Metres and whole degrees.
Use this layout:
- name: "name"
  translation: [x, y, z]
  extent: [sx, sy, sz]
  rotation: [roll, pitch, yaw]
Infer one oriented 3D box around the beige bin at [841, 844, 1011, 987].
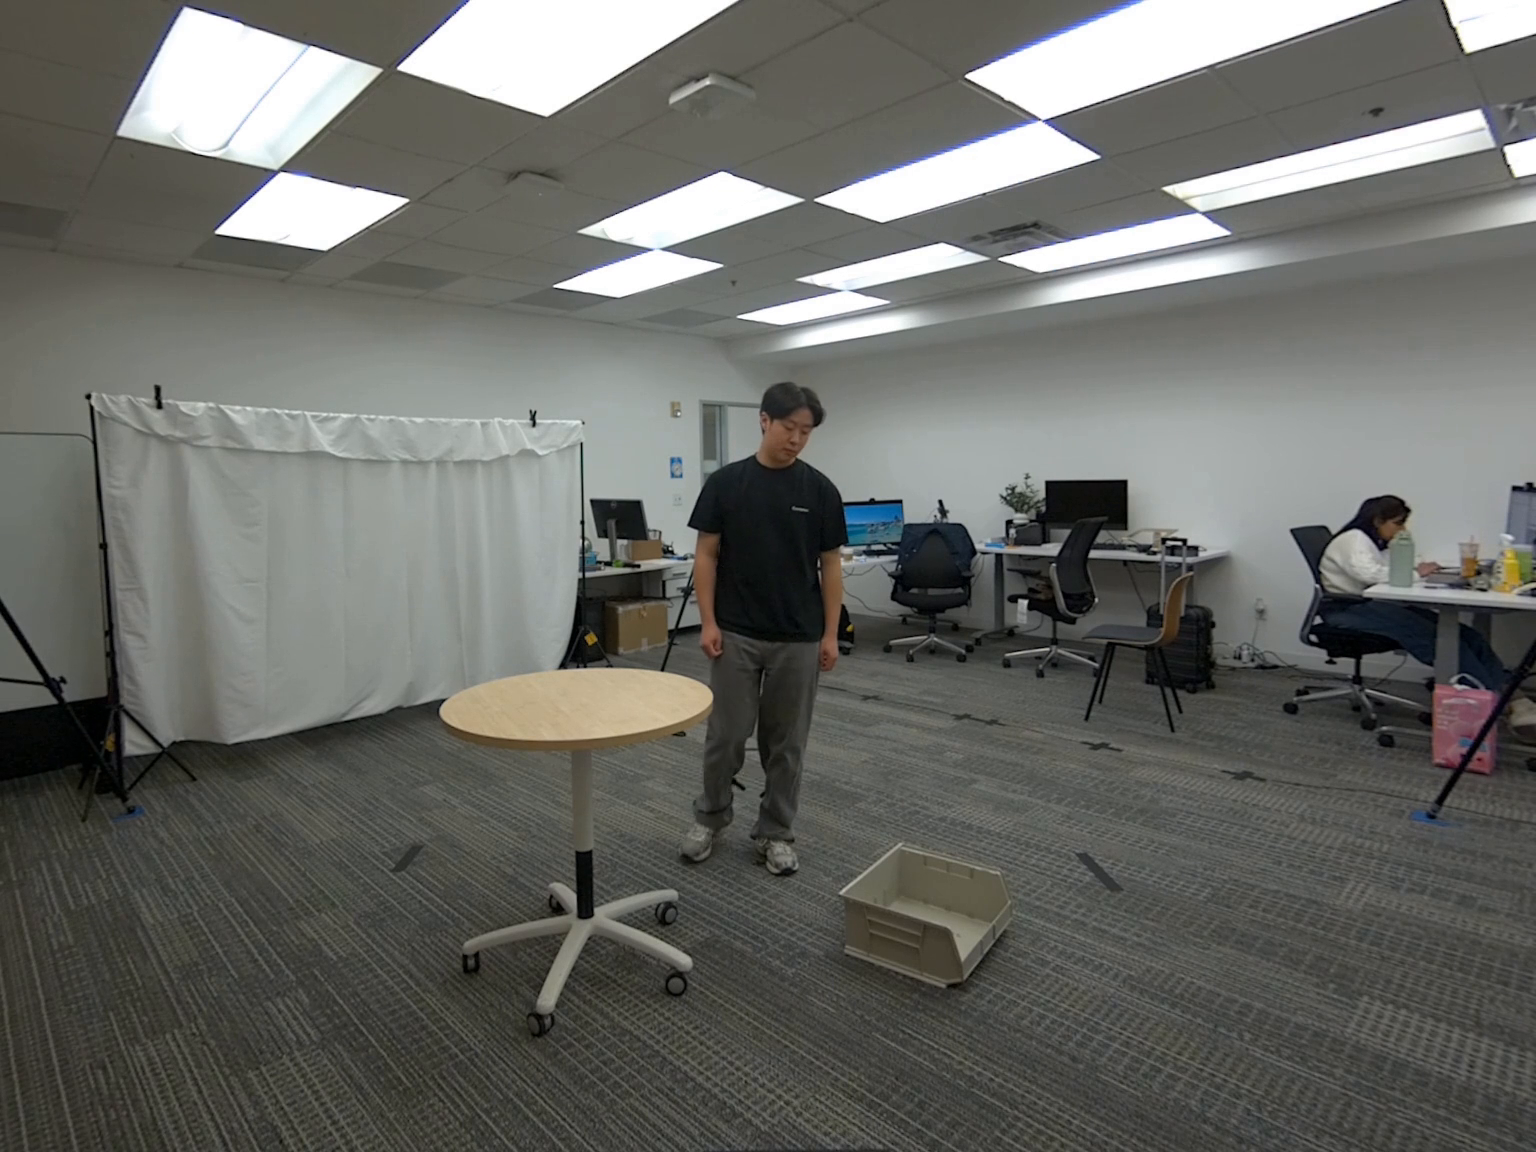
- name: "beige bin"
  translation: [0.484, 1.009, 2.566]
  extent: [0.388, 0.188, 0.412]
  rotation: [2, 7, 36]
